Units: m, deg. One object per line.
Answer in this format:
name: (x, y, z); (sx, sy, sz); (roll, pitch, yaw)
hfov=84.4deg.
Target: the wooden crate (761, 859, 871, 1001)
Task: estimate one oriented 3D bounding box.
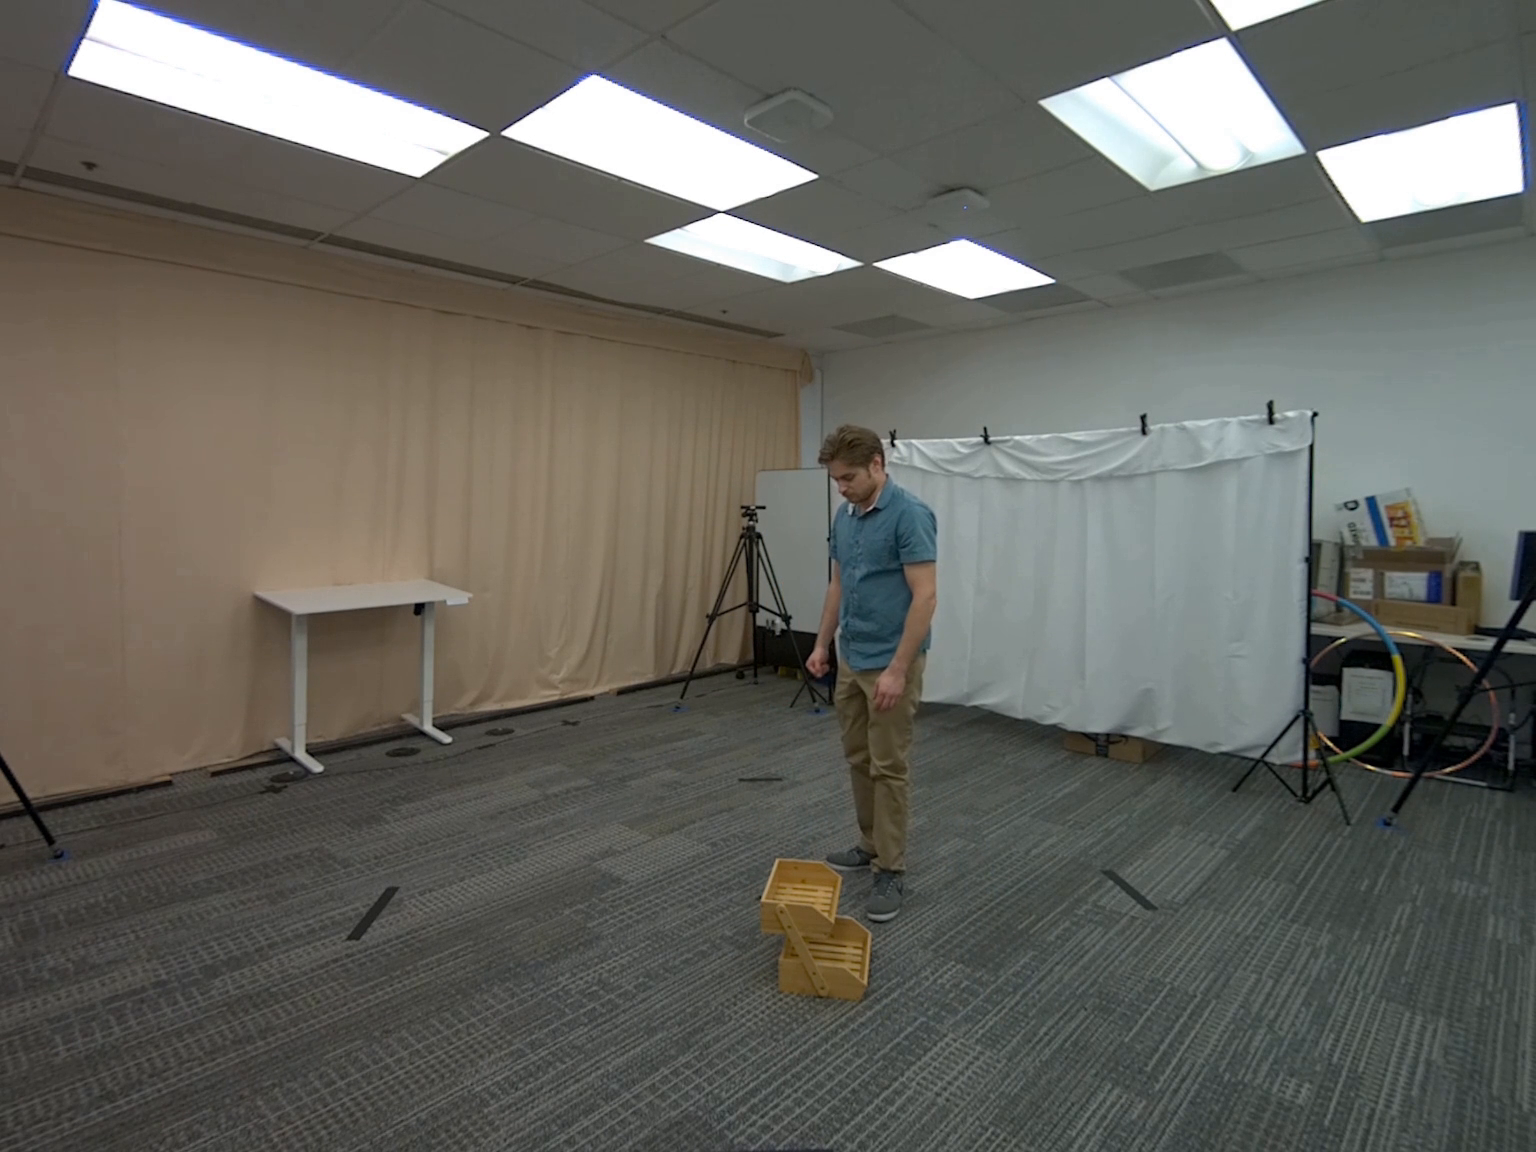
wooden crate: (0.163, 1.049, 2.528); (0.306, 0.273, 0.321); (0, 4, 11)
